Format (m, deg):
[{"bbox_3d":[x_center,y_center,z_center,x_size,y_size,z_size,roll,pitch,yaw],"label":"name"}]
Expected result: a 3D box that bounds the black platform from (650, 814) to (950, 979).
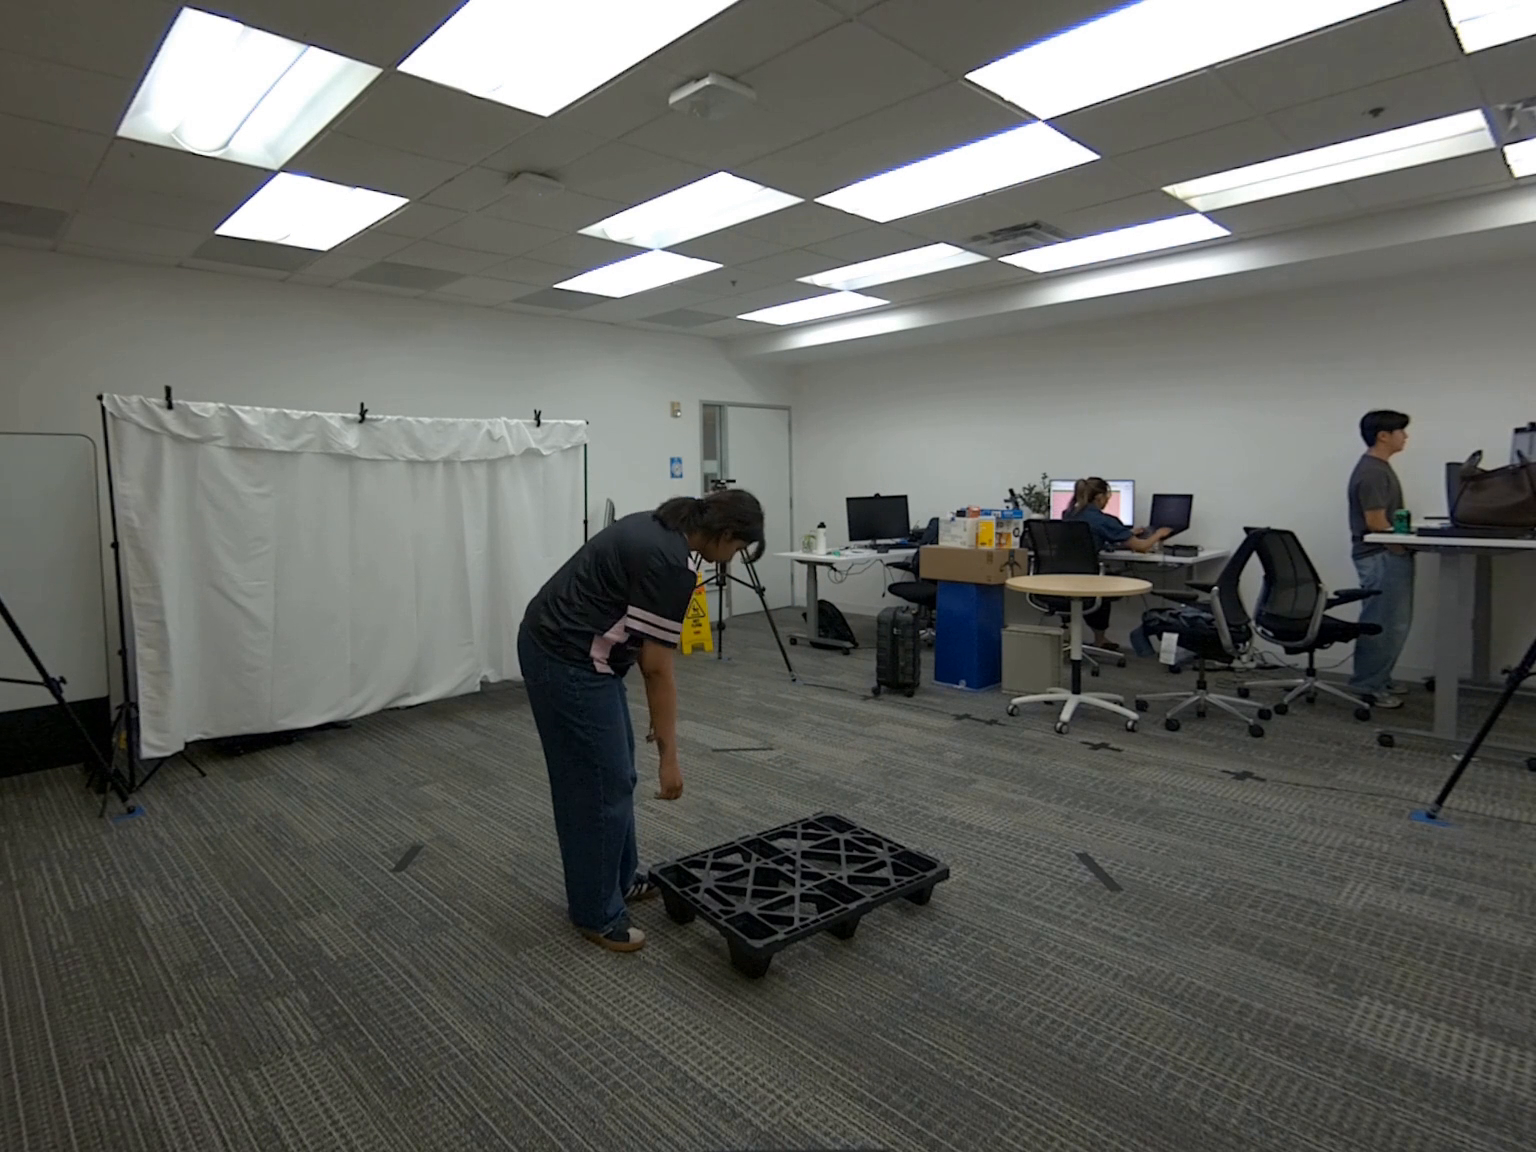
[{"bbox_3d":[0.109,1.017,2.785,0.785,0.142,0.624,-7,9,-36],"label":"black platform"}]
